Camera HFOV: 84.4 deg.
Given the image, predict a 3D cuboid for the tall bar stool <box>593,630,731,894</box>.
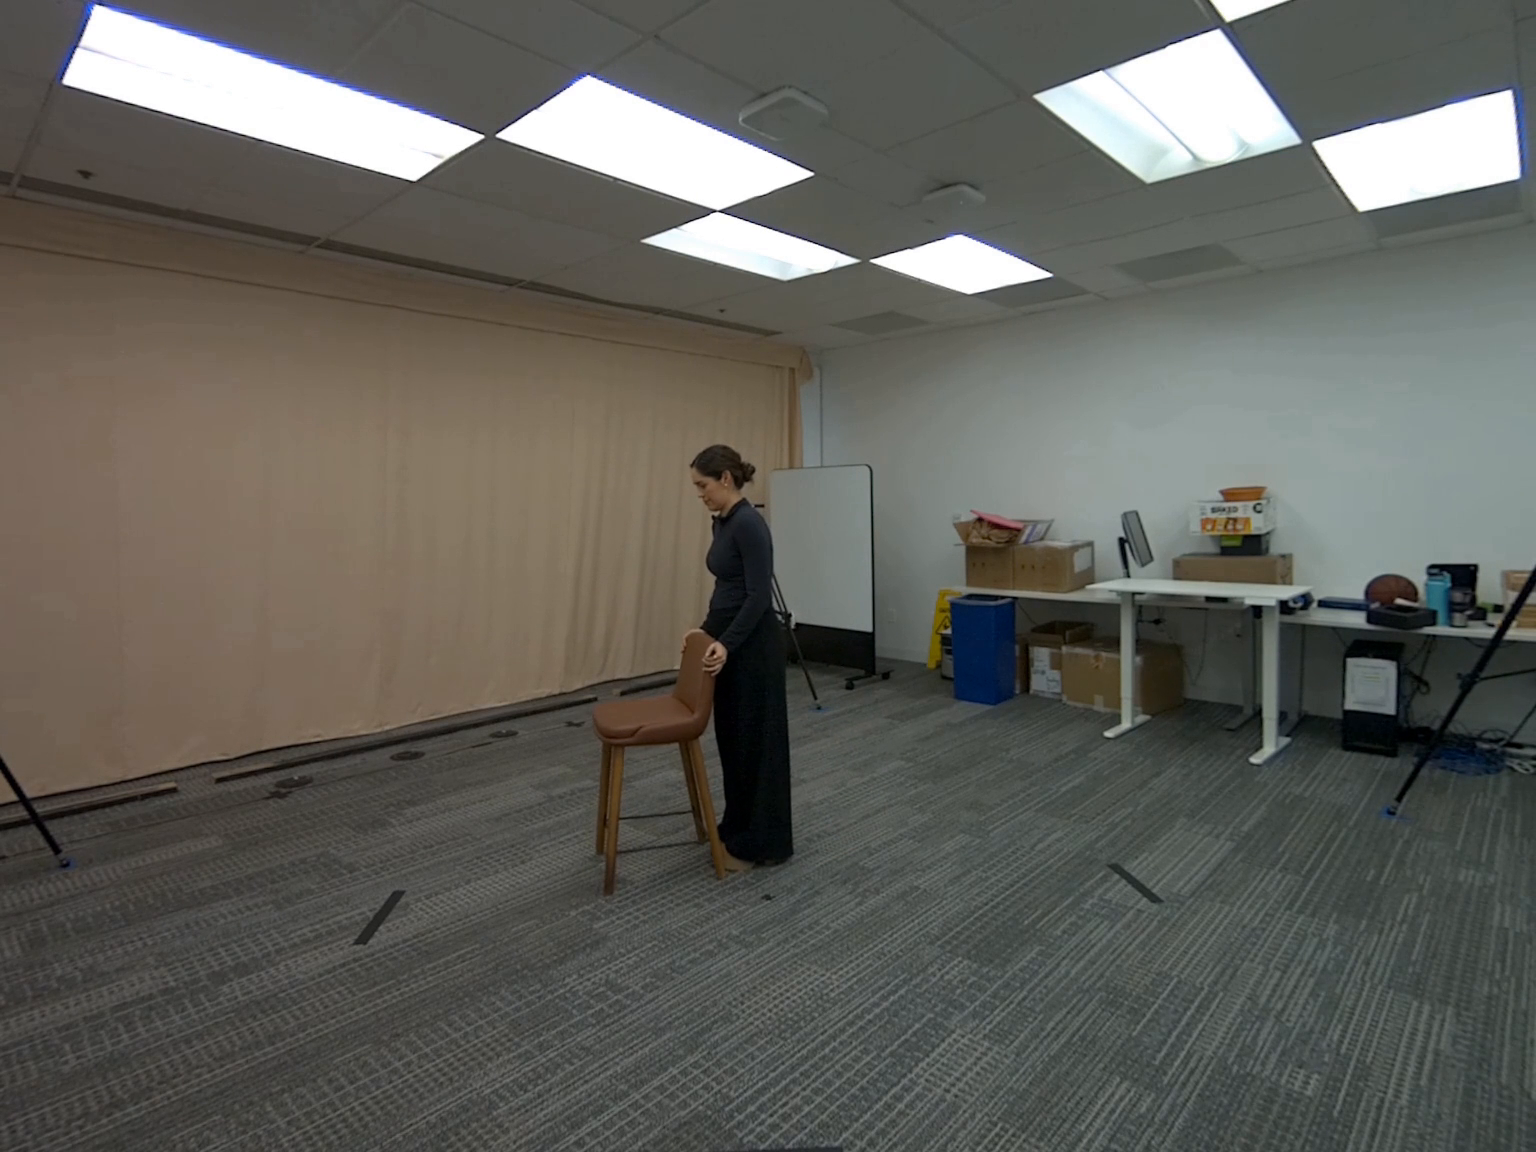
[{"bbox_3d":[-0.436,0.686,3.241,0.461,0.888,0.464,0,3,-15],"label":"tall bar stool"}]
